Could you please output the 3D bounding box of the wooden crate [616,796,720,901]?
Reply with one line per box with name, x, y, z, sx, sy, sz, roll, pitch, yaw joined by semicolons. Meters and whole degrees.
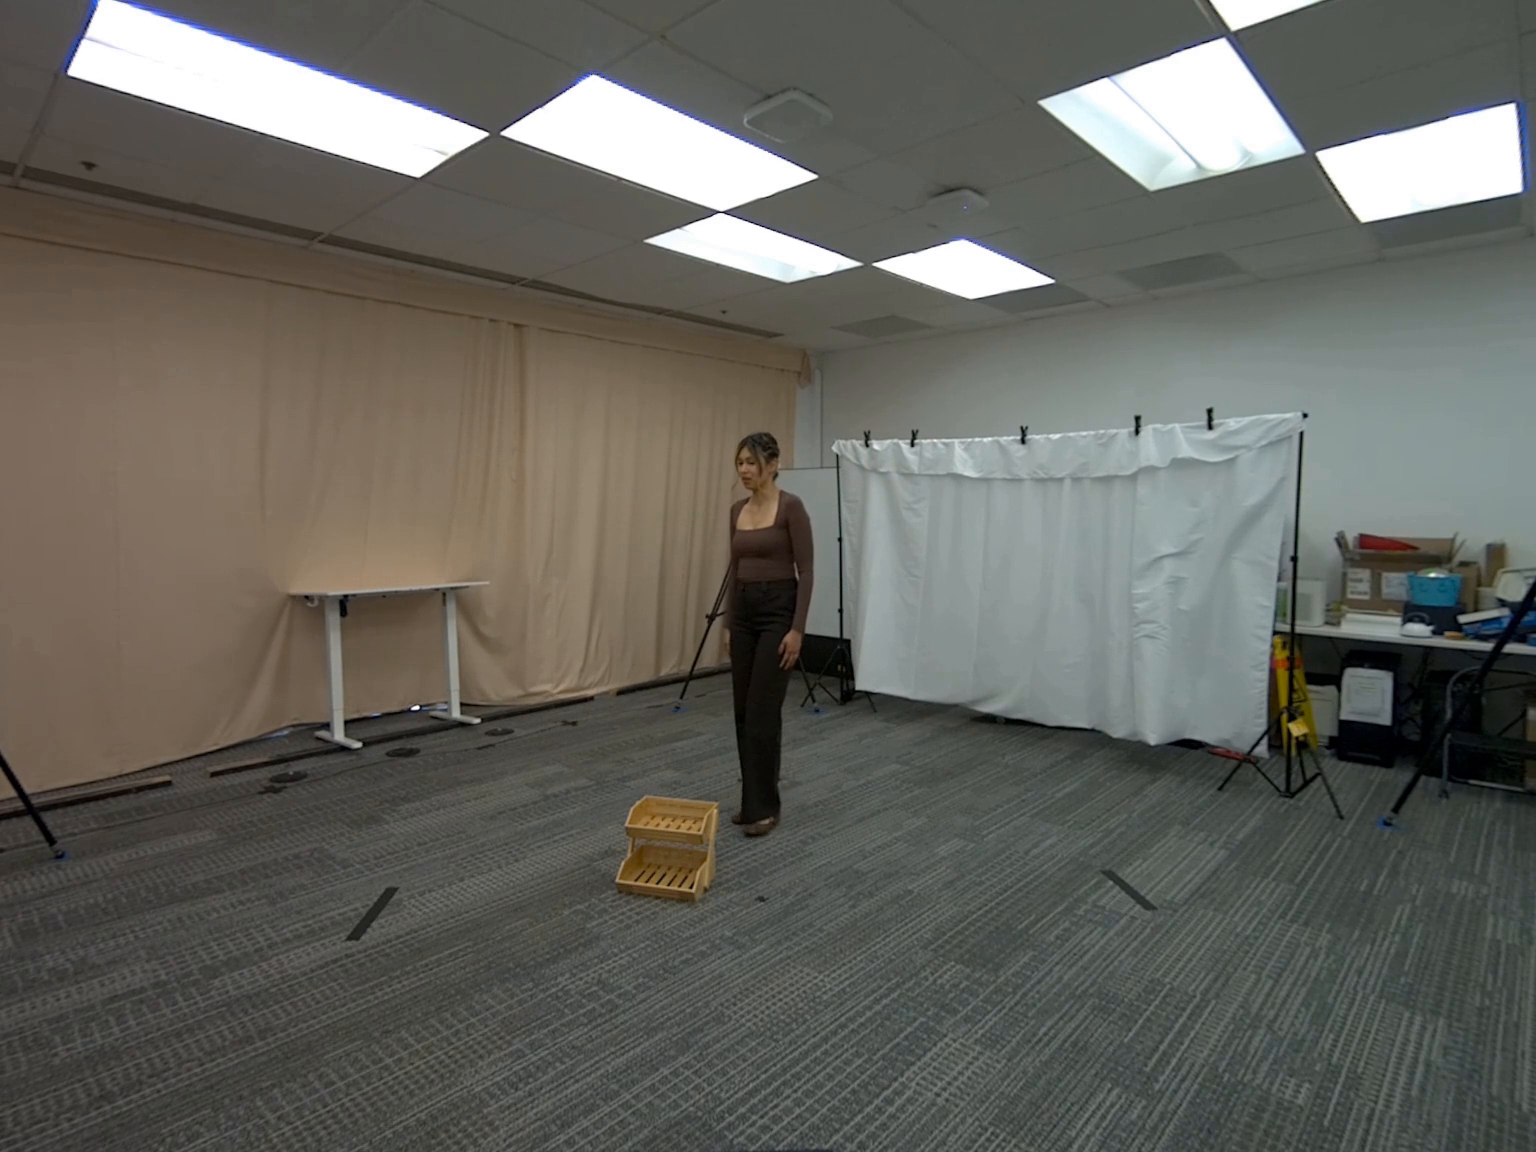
wooden crate;-0.368;1.004;3.114;0.330;0.273;0.298;1;4;14
